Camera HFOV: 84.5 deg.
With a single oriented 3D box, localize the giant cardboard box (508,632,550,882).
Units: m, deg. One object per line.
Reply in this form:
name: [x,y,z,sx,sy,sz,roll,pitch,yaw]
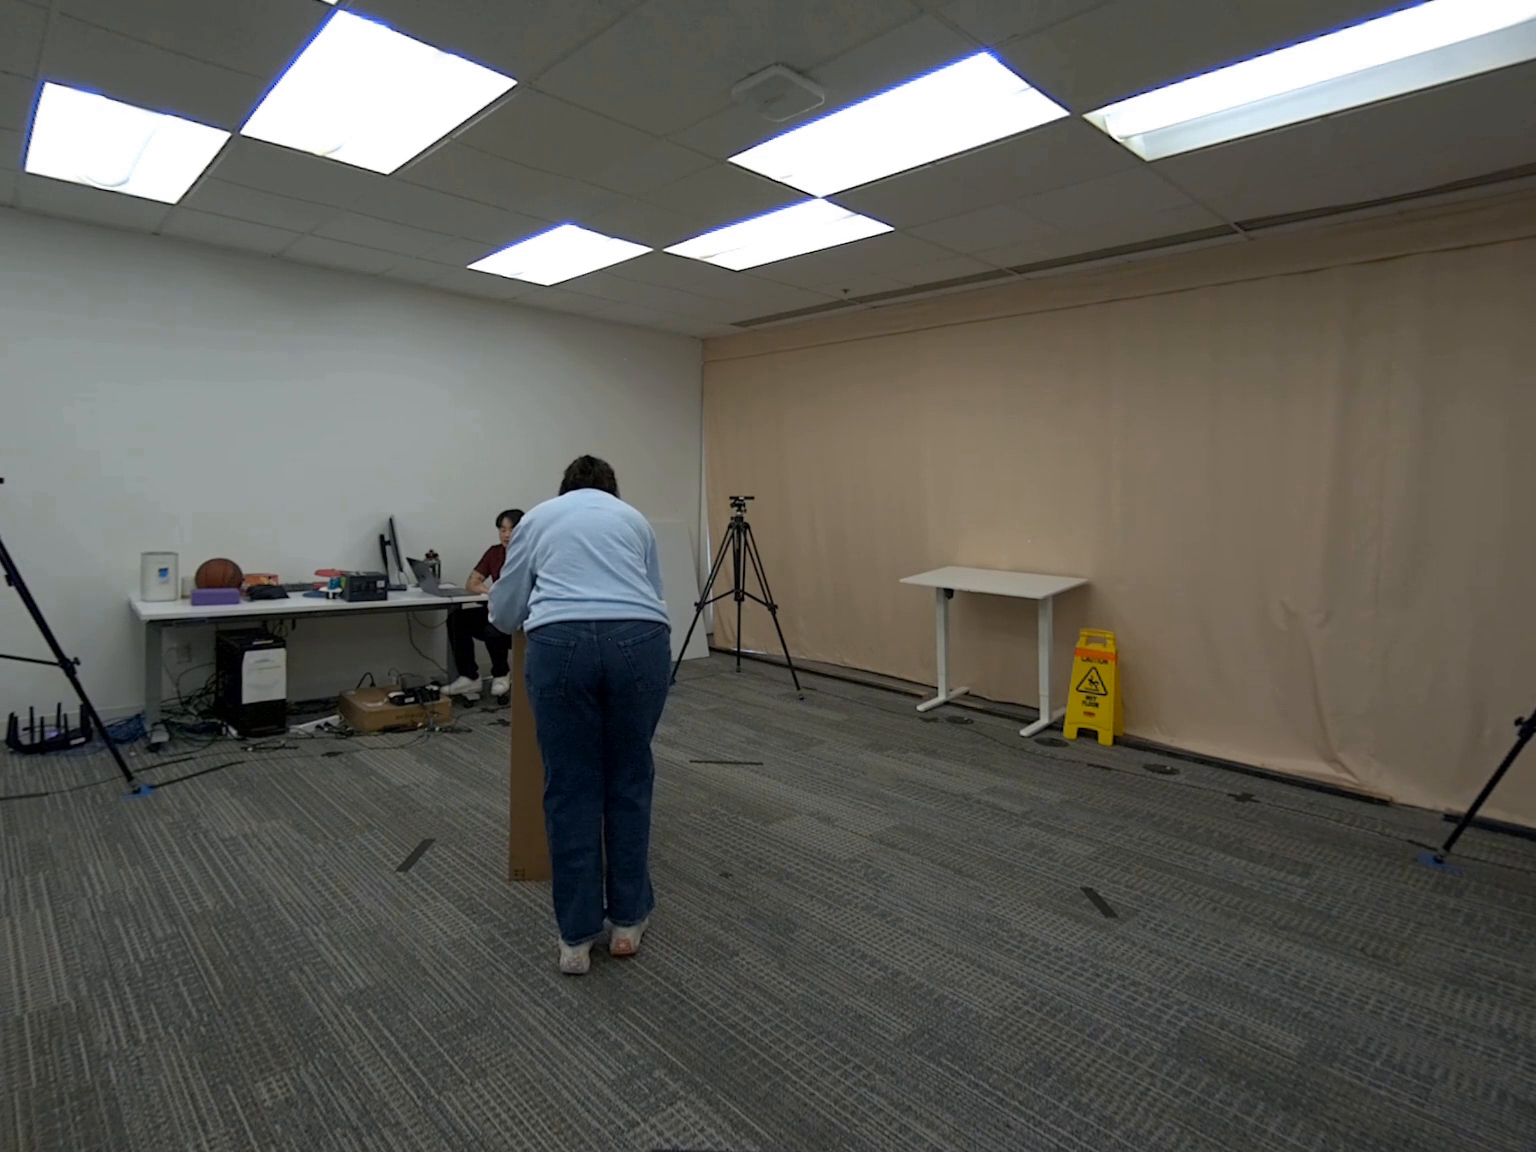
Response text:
giant cardboard box: [-0.759,0.569,3.302,0.424,1.024,0.582,1,3,-8]
